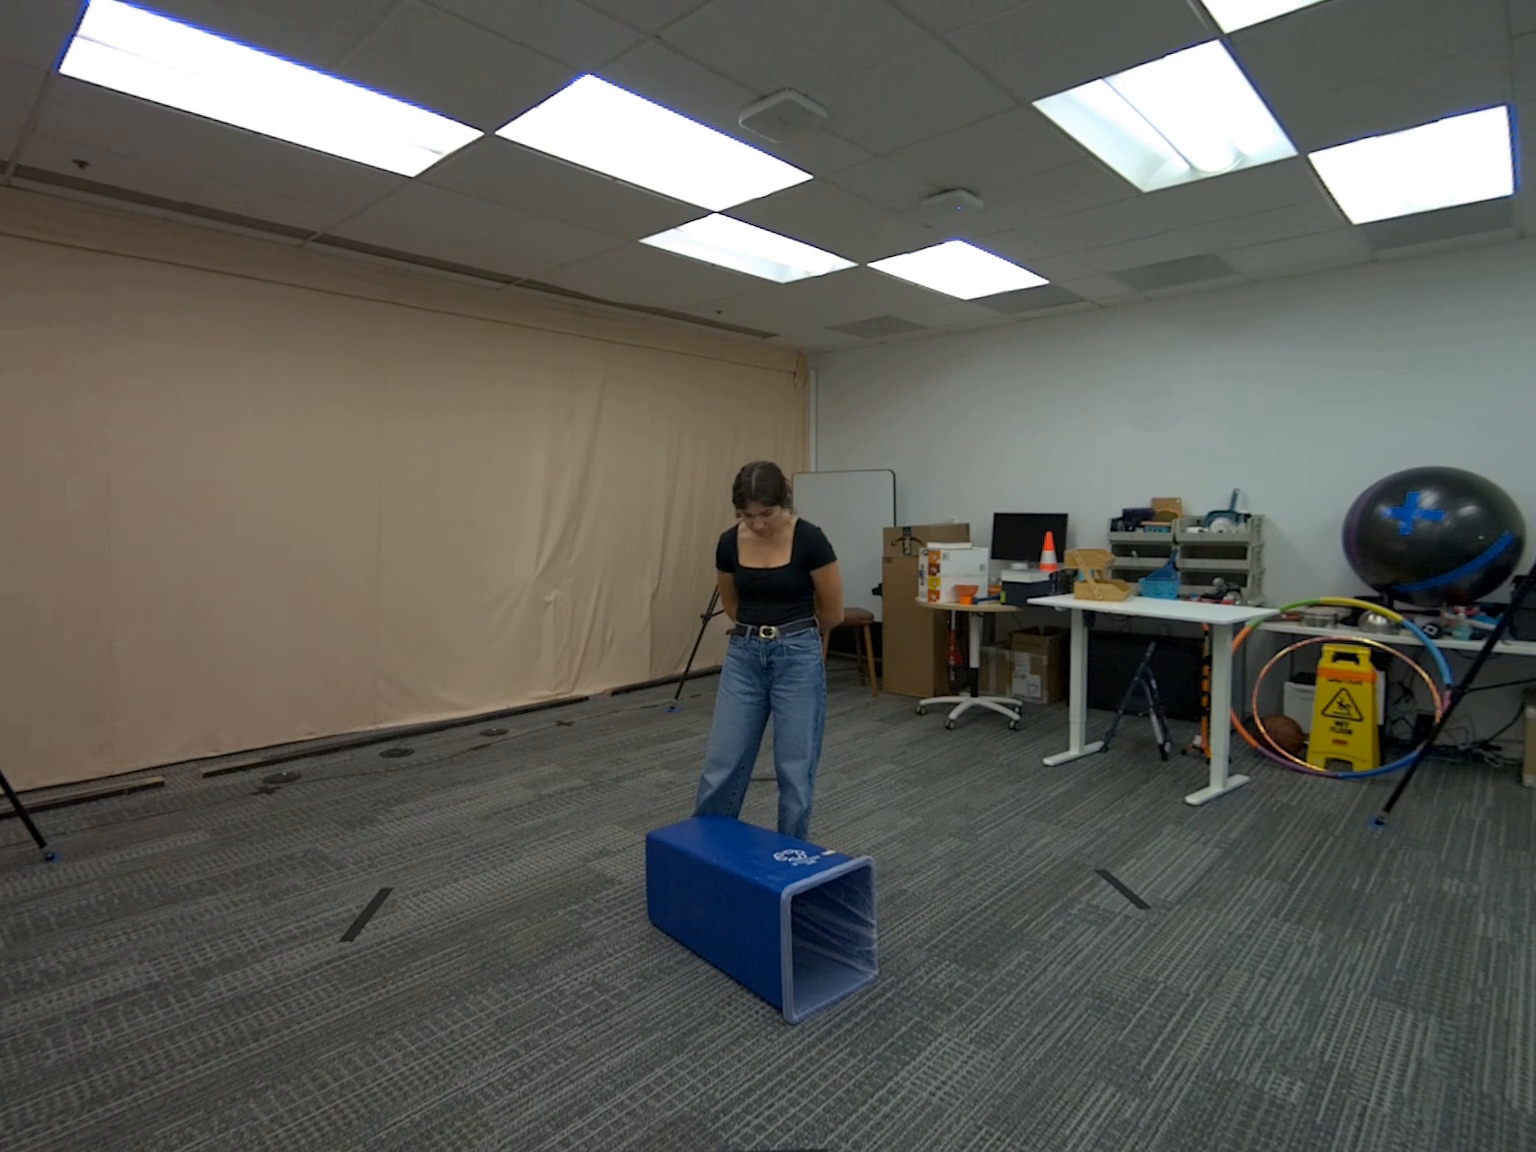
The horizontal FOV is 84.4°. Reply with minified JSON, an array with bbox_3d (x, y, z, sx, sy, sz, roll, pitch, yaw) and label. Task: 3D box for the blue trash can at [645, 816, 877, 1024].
[{"bbox_3d":[-0.048,1.007,2.620,0.362,0.378,0.736,-3,3,-42],"label":"blue trash can"}]
